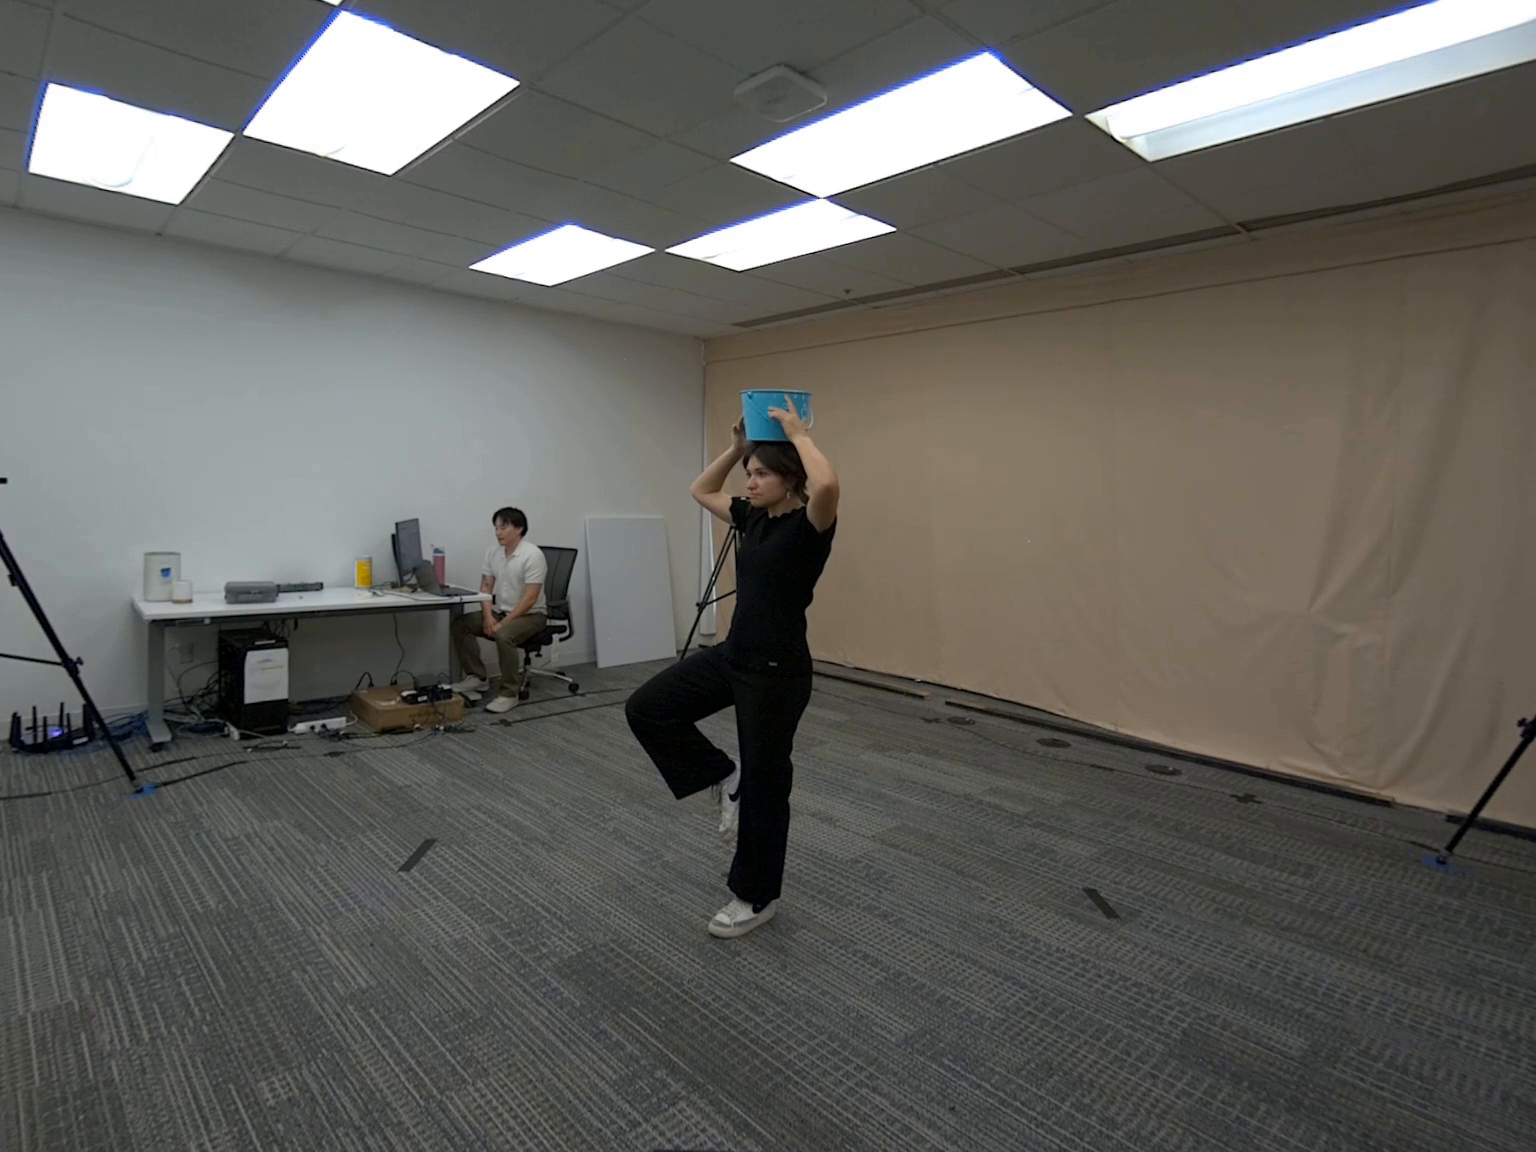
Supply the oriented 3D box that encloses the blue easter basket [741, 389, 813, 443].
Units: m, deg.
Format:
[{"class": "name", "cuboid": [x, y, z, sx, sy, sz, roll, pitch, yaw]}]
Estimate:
[{"class": "blue easter basket", "cuboid": [0.016, -0.505, 2.668, 0.243, 0.155, 0.245, 2, 7, -2]}]
